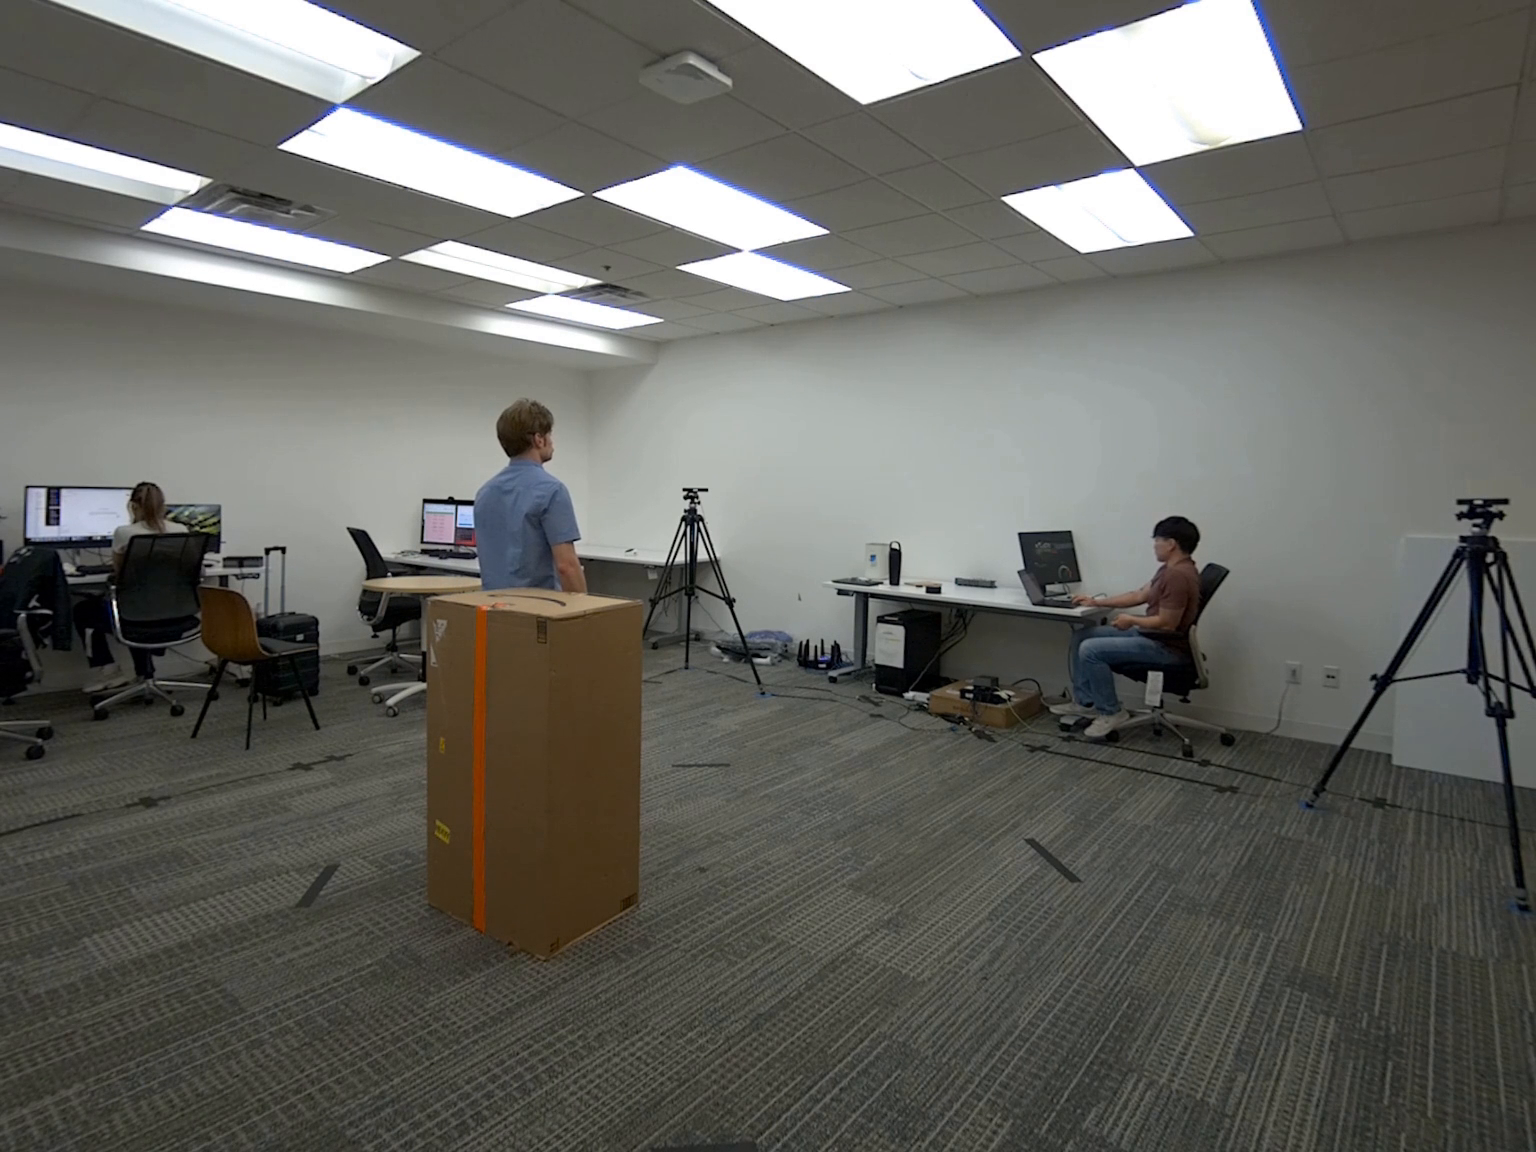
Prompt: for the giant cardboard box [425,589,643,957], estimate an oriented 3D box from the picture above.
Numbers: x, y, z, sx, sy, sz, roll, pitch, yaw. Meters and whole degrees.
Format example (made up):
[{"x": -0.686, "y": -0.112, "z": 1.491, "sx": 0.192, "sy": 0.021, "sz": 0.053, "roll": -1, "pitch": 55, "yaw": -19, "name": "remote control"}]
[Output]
[{"x": -0.776, "y": 0.585, "z": 2.784, "sx": 0.596, "sy": 1.023, "sz": 0.414, "roll": 4, "pitch": 4, "yaw": 35, "name": "giant cardboard box"}]
